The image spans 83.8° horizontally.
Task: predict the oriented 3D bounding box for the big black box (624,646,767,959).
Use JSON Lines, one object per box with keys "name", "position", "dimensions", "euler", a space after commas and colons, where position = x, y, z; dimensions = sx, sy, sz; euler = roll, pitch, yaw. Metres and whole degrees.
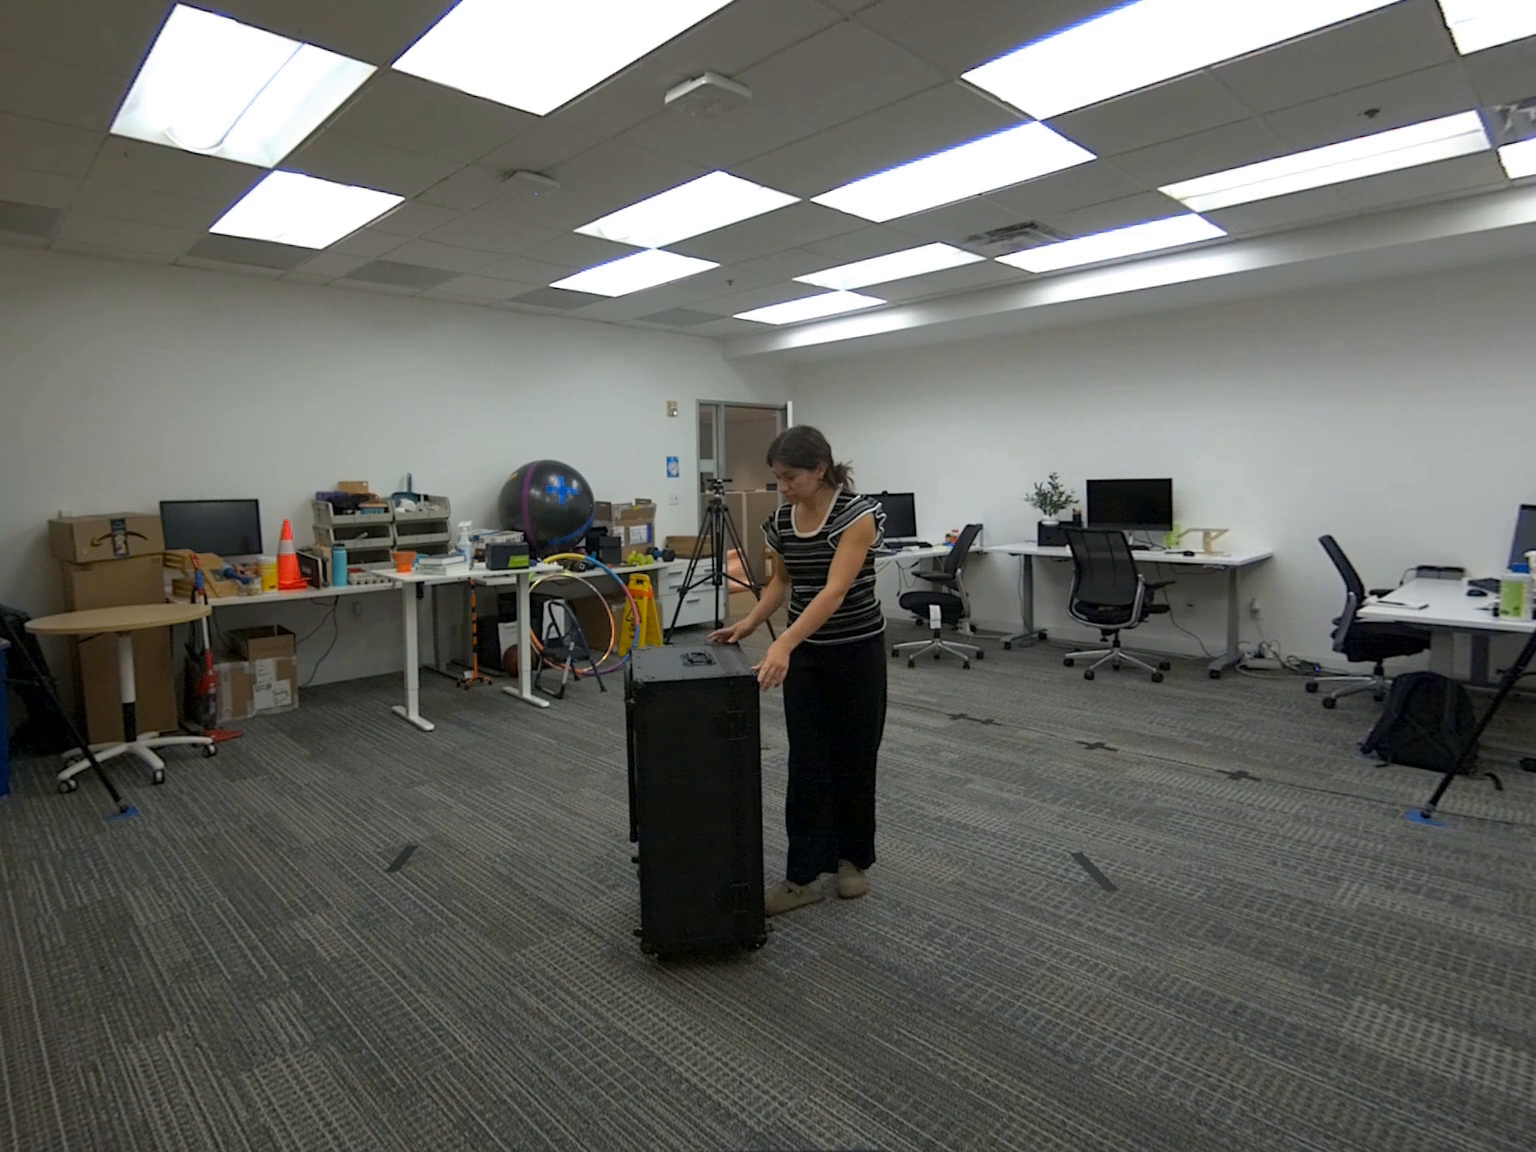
{"name": "big black box", "position": [-0.238, 0.682, 2.620], "dimensions": [0.393, 0.858, 0.527], "euler": [-2, 5, -9]}
